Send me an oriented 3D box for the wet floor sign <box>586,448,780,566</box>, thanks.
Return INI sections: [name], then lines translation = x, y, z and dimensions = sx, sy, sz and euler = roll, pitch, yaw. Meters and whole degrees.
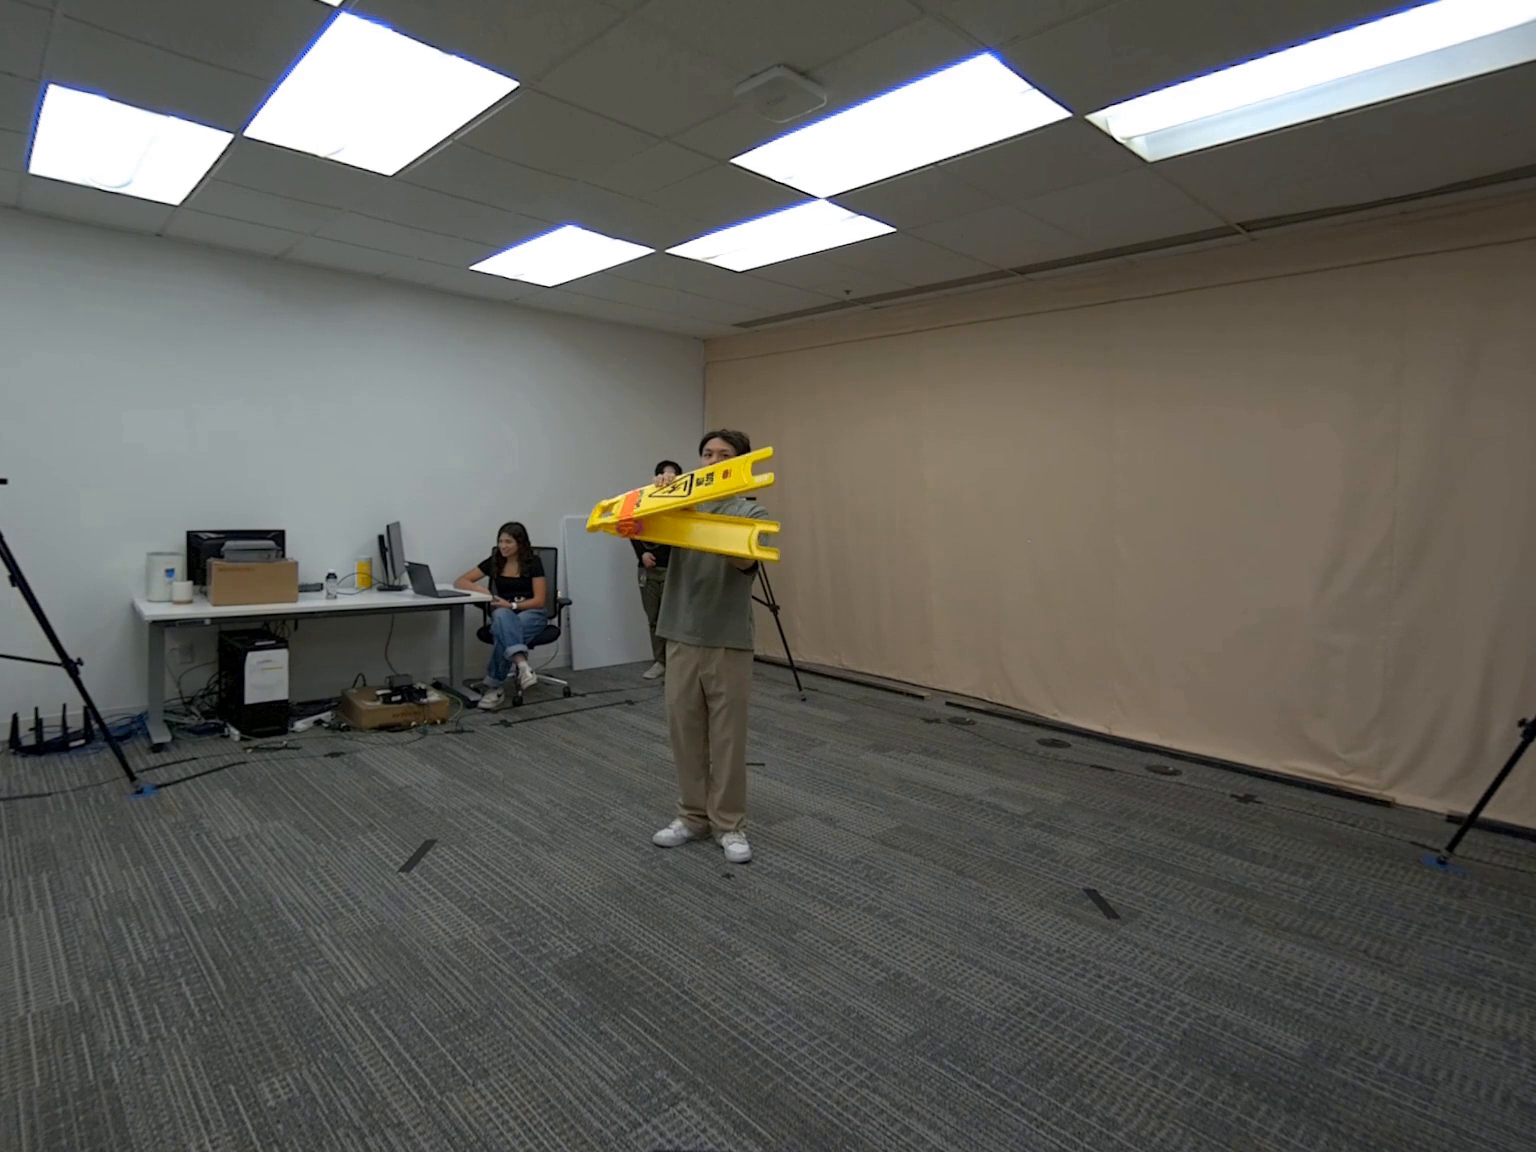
[wet floor sign]
translation = -0.299, -0.225, 2.883
dimensions = 0.649, 0.283, 0.287
euler = -4, 30, 5
